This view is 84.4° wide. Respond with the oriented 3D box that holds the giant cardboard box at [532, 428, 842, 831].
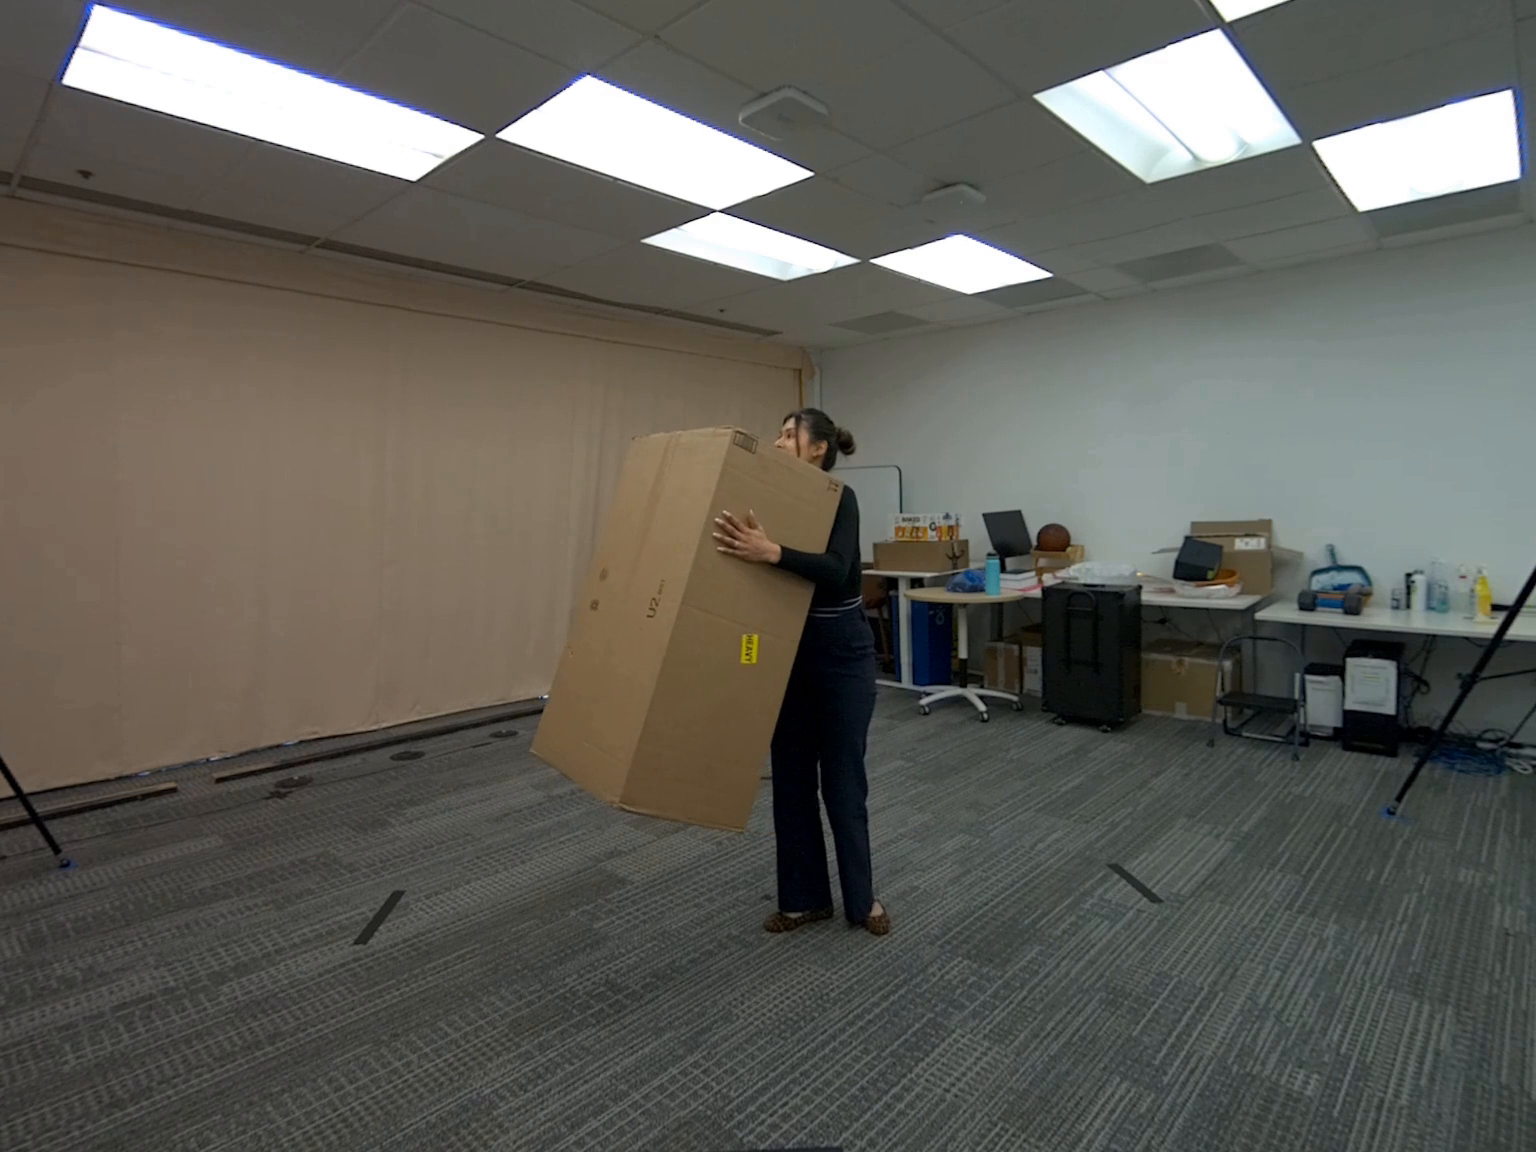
[{"bbox_3d":[-0.244,0.135,2.481,0.412,1.028,0.596,22,-10,-35],"label":"giant cardboard box"}]
